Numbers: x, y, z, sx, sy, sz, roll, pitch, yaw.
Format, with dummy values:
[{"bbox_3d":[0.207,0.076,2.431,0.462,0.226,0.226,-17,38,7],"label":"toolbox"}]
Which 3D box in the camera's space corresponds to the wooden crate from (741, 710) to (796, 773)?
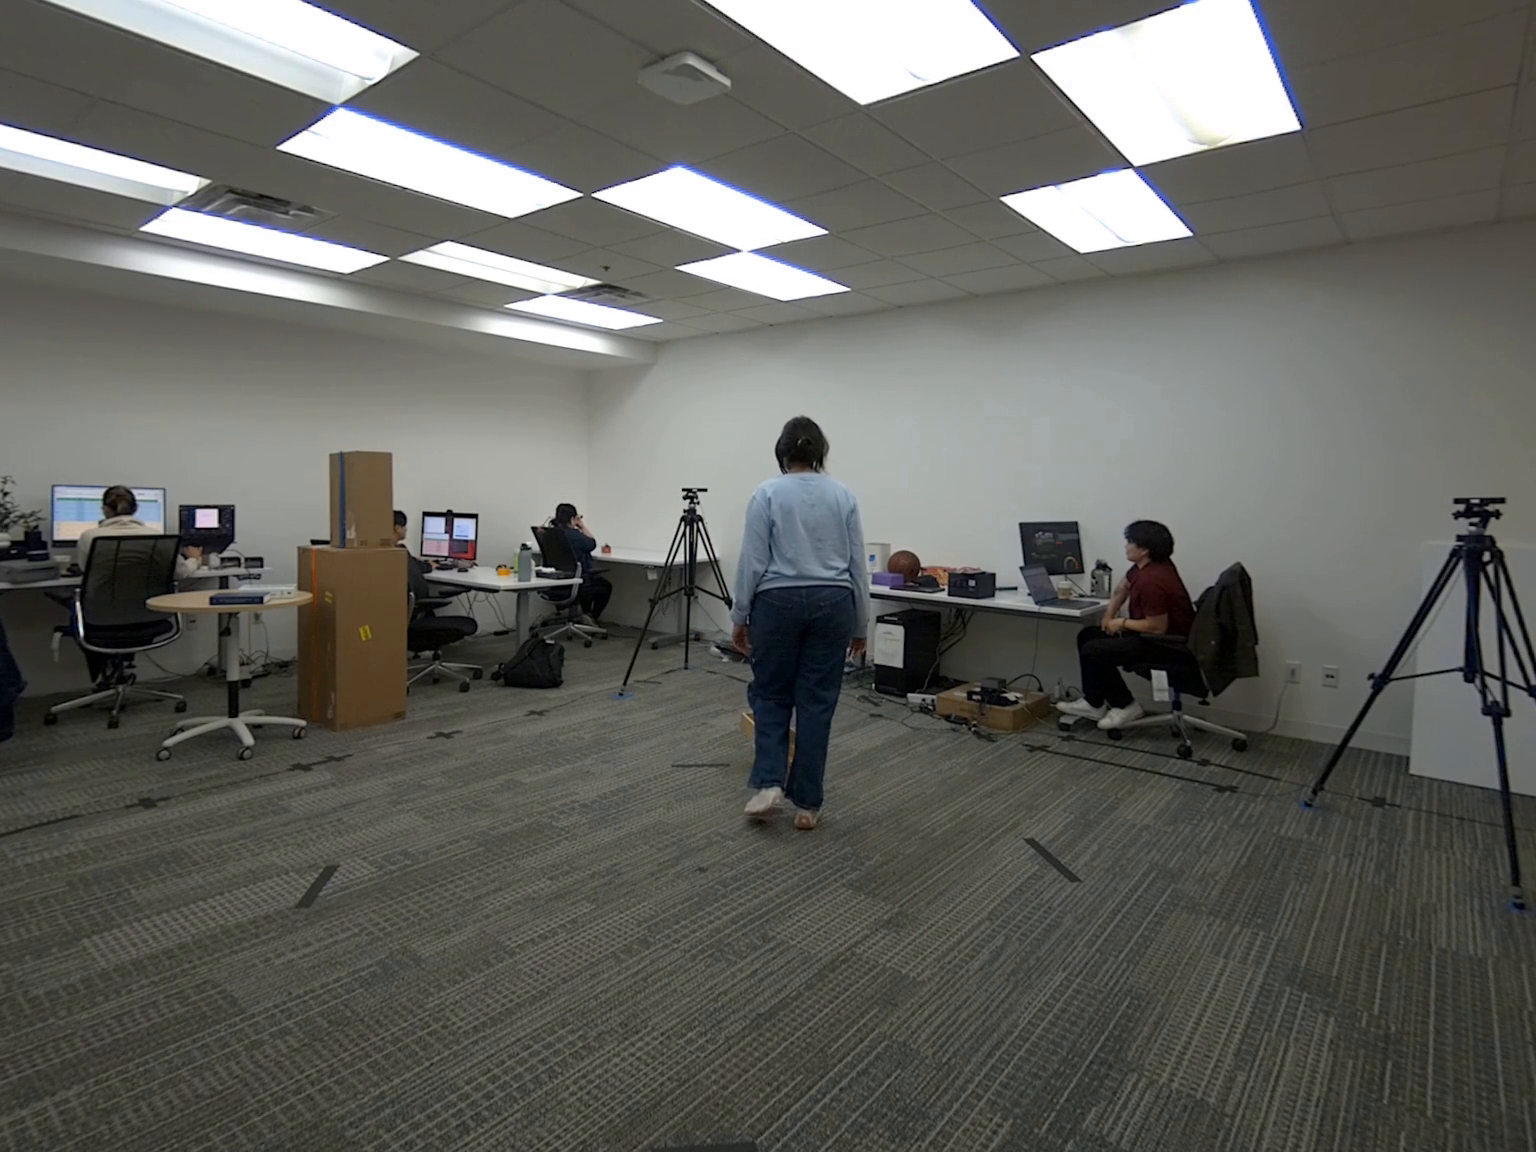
[{"bbox_3d":[0.049,0.829,4.234,0.297,0.272,0.331,-1,5,-16],"label":"wooden crate"}]
